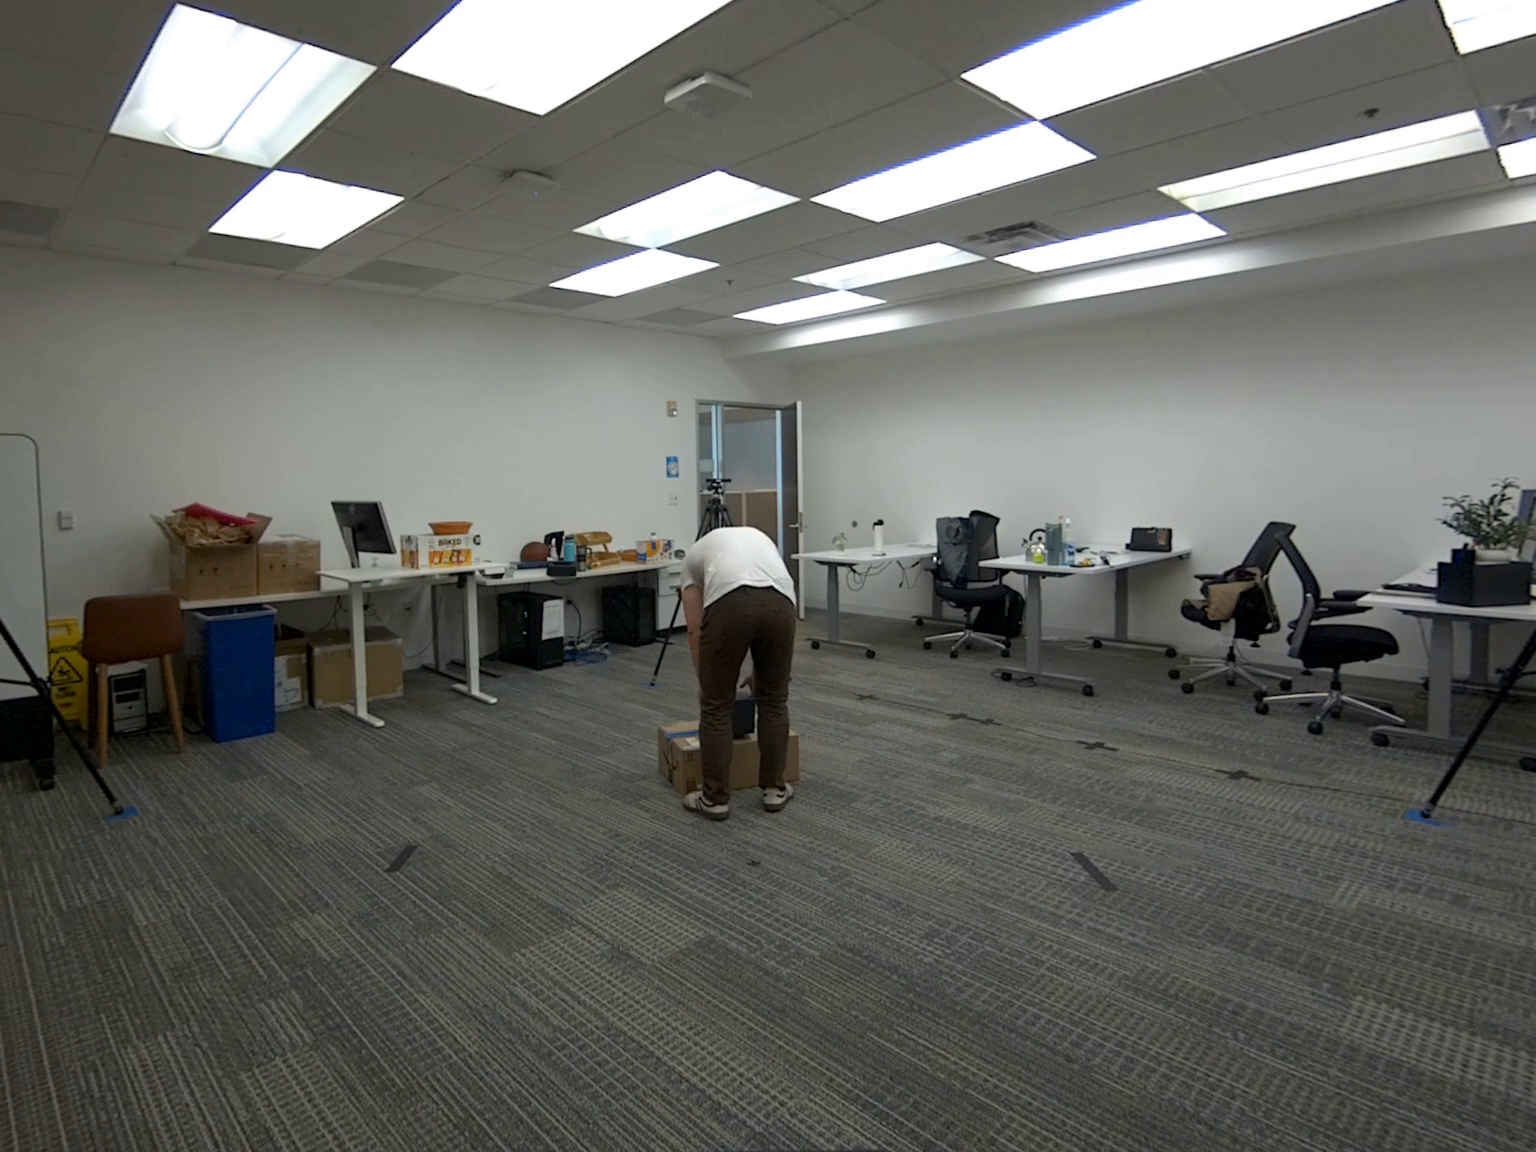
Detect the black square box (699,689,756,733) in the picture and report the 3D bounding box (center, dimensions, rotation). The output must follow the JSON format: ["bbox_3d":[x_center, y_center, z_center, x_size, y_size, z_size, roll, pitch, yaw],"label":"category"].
[{"bbox_3d":[-0.190,0.620,3.958,0.226,0.156,0.219,-1,0,-9],"label":"black square box"}]
